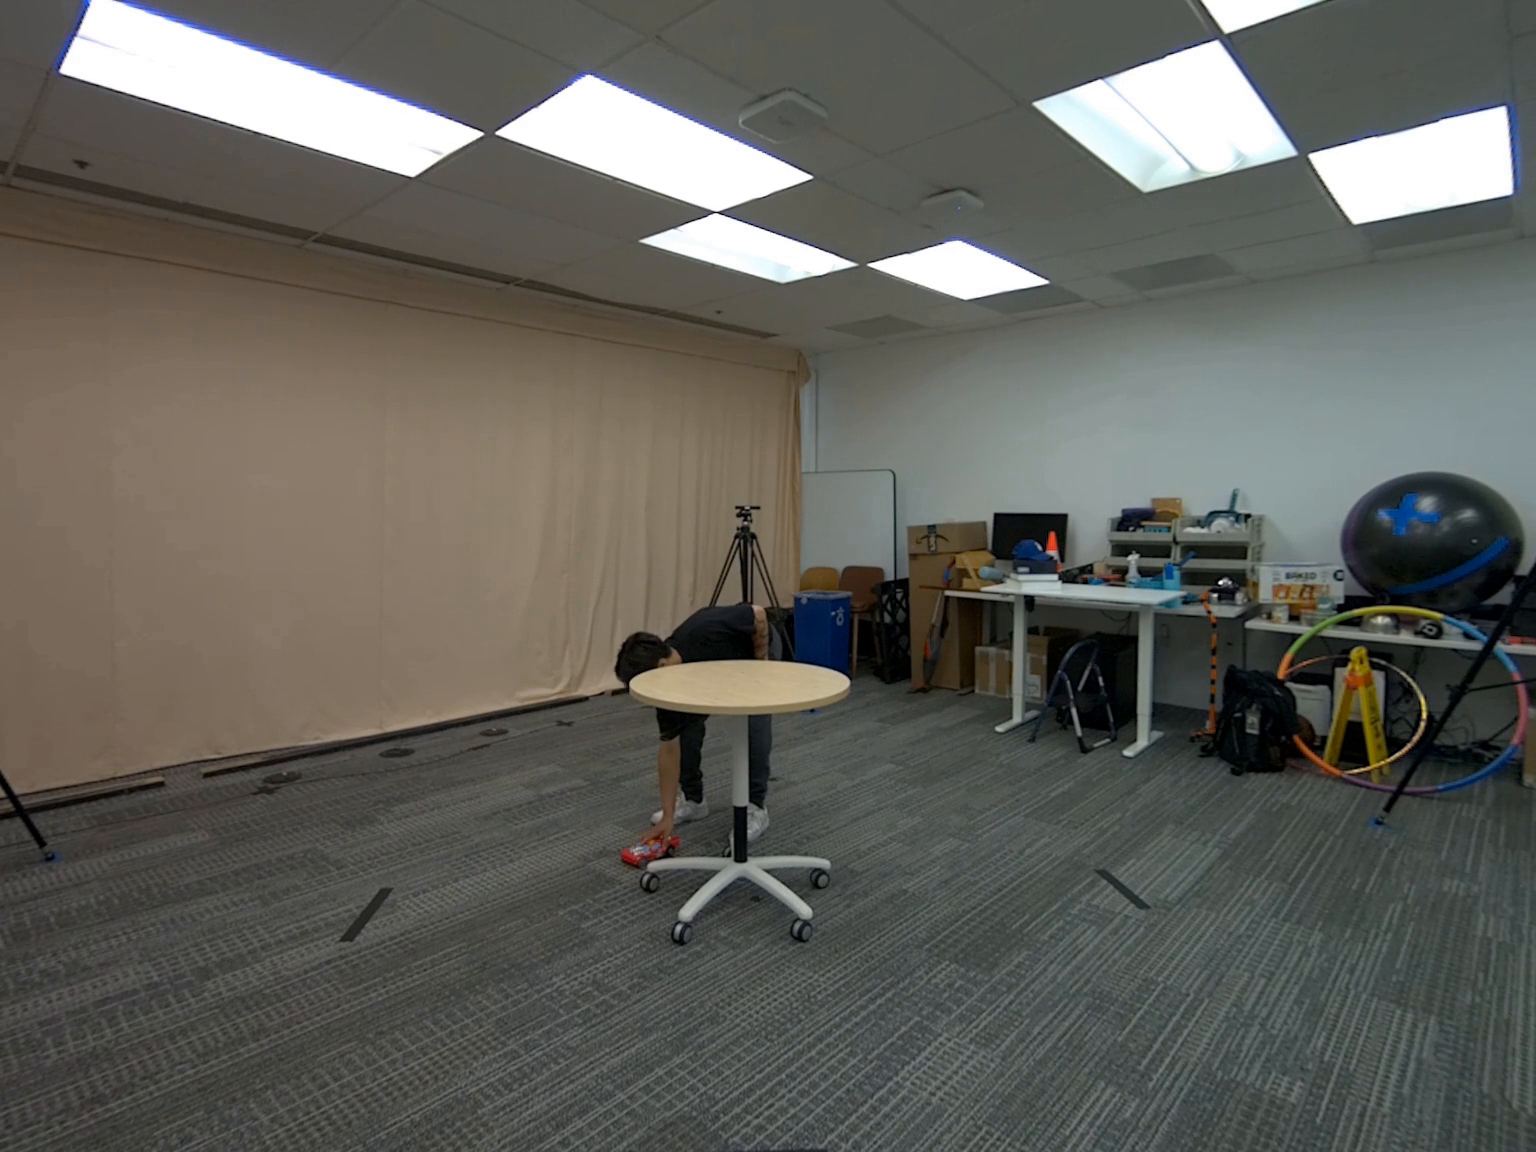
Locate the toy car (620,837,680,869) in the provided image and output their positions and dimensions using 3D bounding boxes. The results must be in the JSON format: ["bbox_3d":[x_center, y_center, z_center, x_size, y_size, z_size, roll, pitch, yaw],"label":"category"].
[{"bbox_3d":[-0.464,1.087,3.355,0.134,0.082,0.248,3,16,45],"label":"toy car"}]
